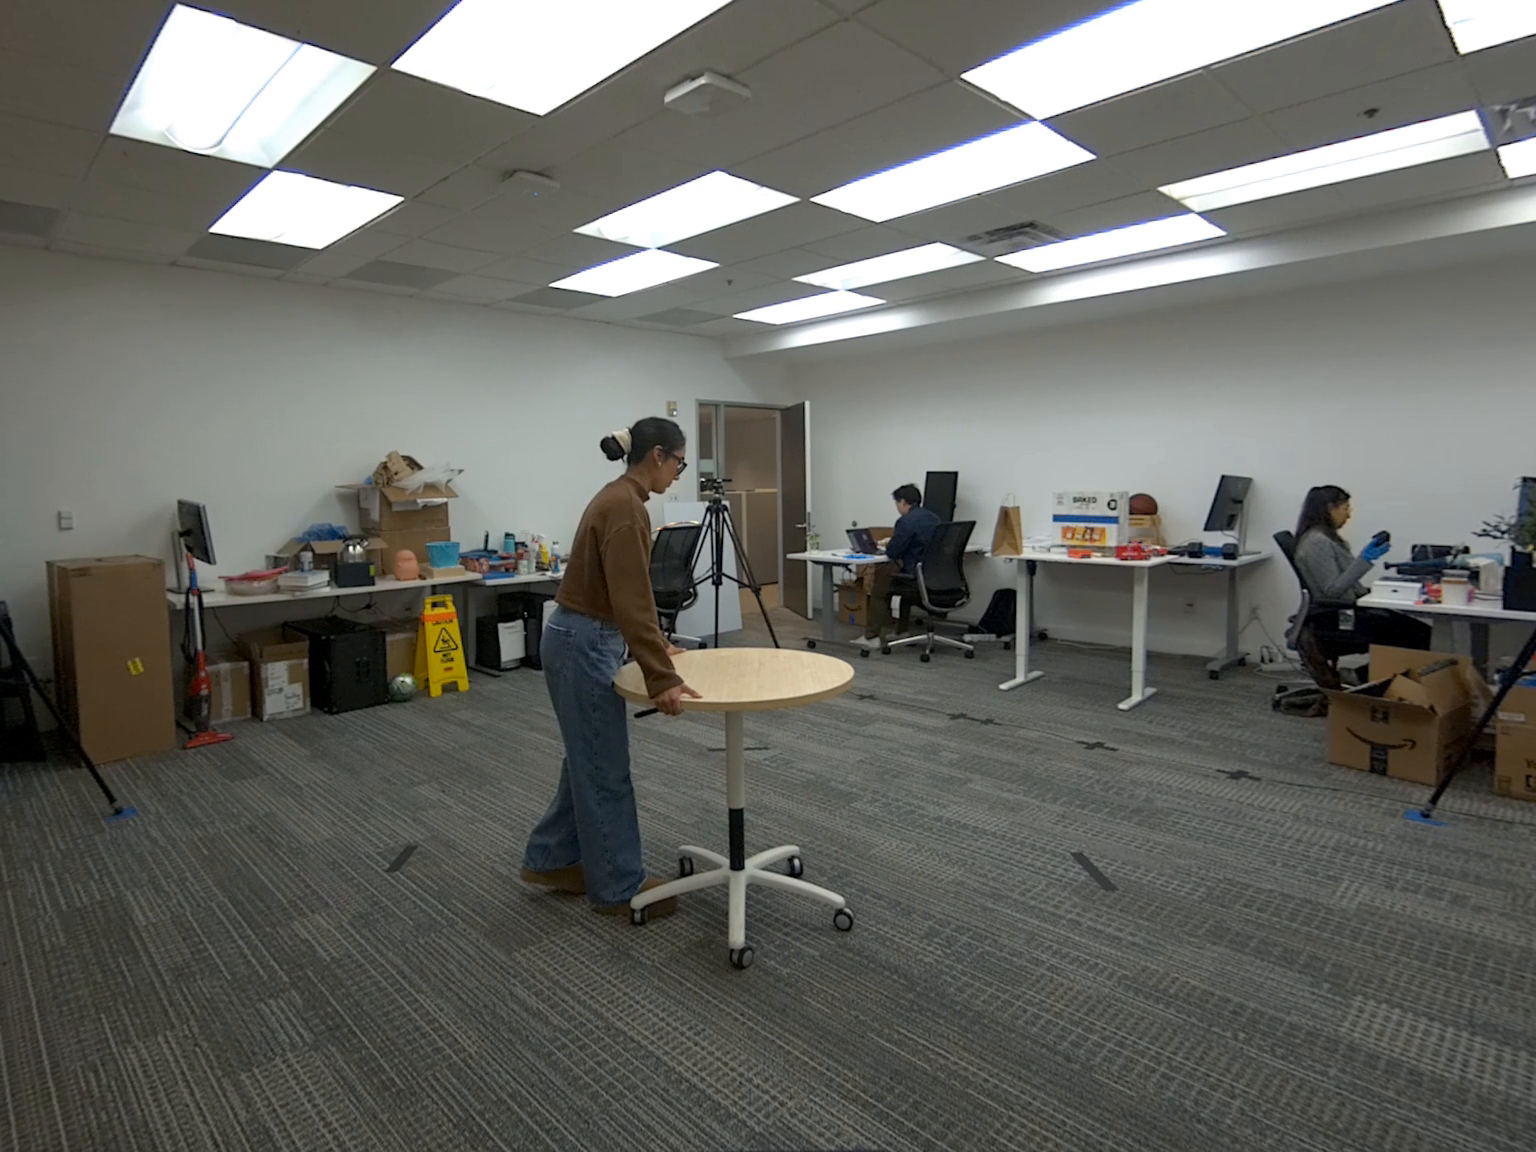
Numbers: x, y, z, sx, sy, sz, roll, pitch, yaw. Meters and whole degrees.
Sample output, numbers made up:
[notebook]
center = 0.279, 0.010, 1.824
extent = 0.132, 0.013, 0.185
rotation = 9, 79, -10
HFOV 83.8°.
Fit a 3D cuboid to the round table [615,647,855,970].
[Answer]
[round table]
center = -0.099, 0.693, 2.752
extent = 0.763, 0.791, 0.768
rotation = -1, 5, -2
